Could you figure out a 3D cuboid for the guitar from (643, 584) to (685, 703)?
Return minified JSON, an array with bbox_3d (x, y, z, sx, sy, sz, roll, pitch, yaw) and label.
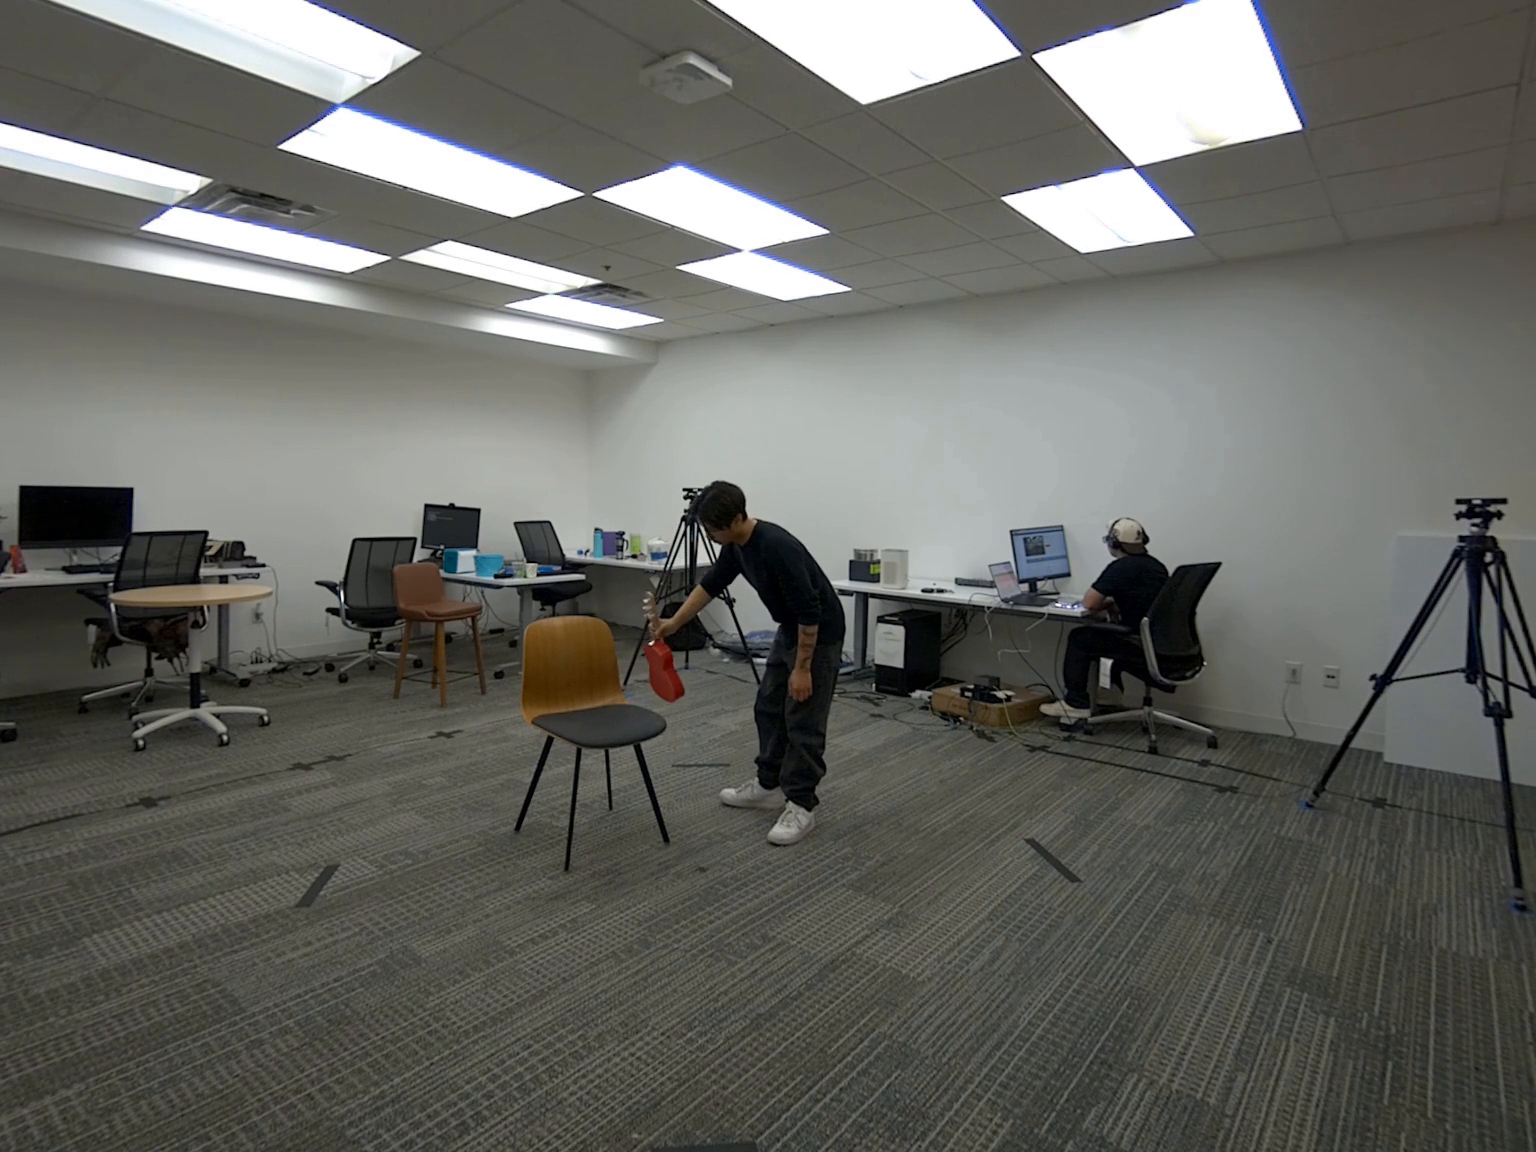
[{"bbox_3d":[-0.516,0.303,3.730,0.069,0.493,0.198,-21,9,-32],"label":"guitar"}]
